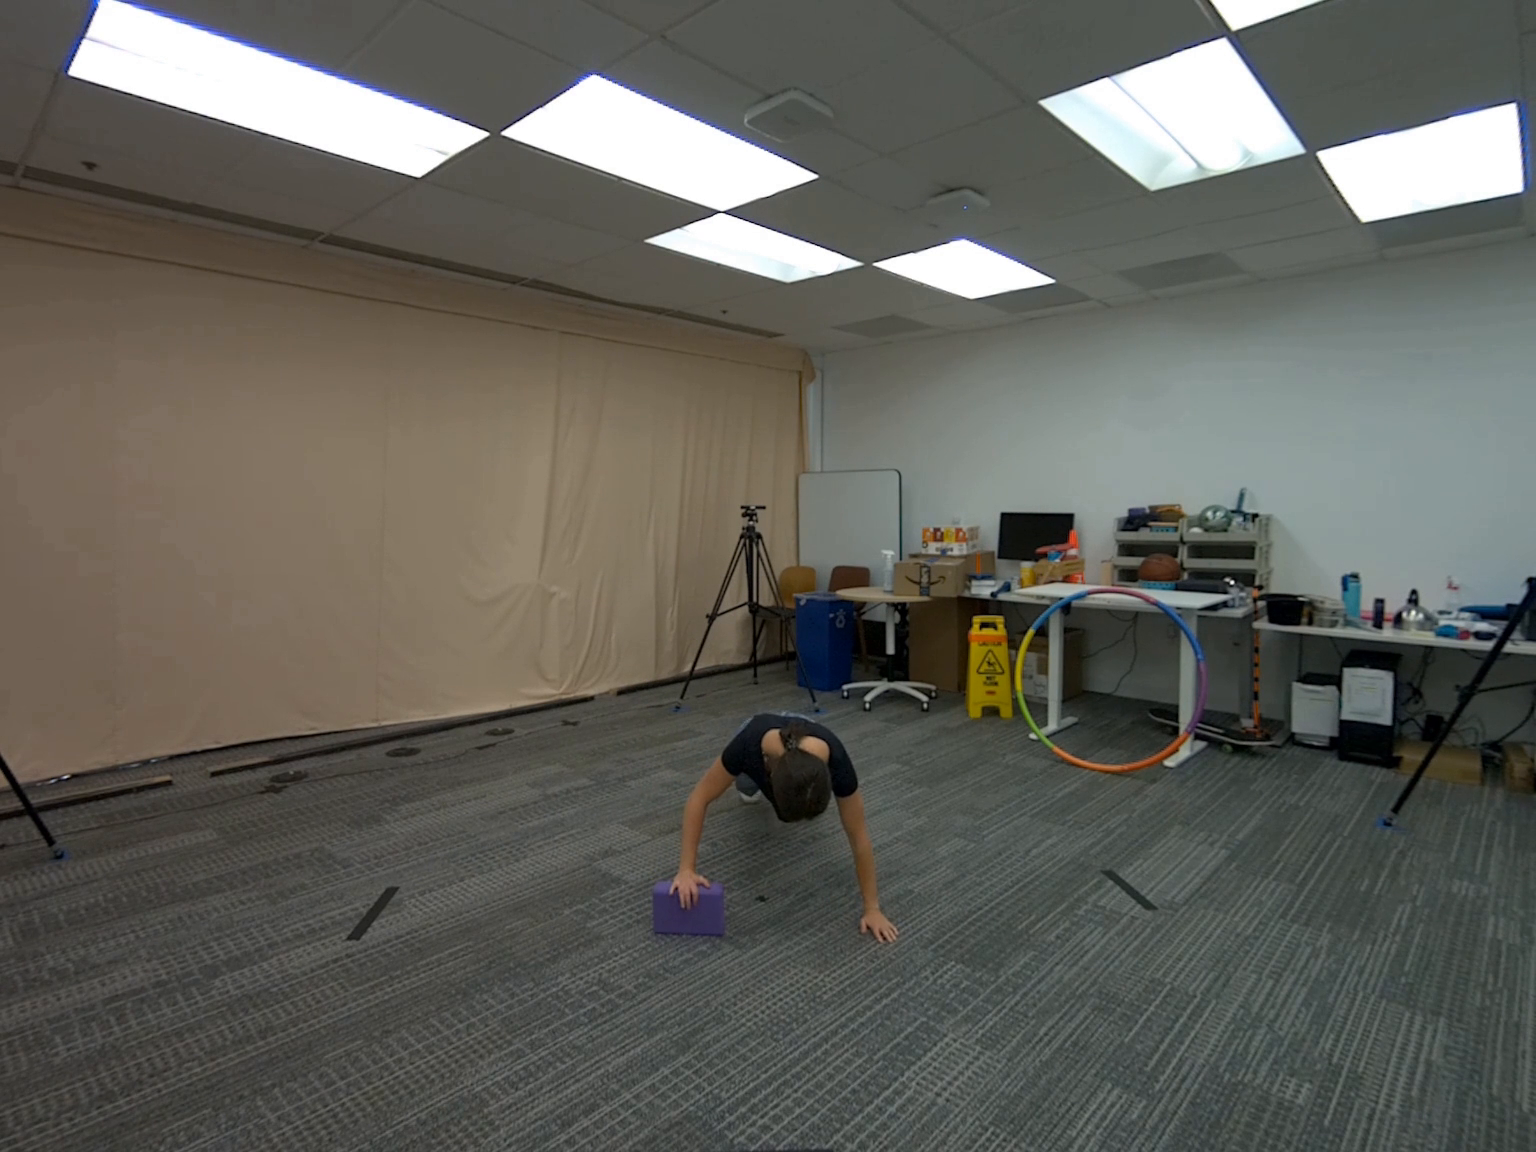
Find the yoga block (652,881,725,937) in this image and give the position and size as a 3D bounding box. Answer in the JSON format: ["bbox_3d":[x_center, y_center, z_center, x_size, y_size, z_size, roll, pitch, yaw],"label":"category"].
[{"bbox_3d":[-0.255,1.093,2.760,0.230,0.149,0.076,2,2,4],"label":"yoga block"}]
